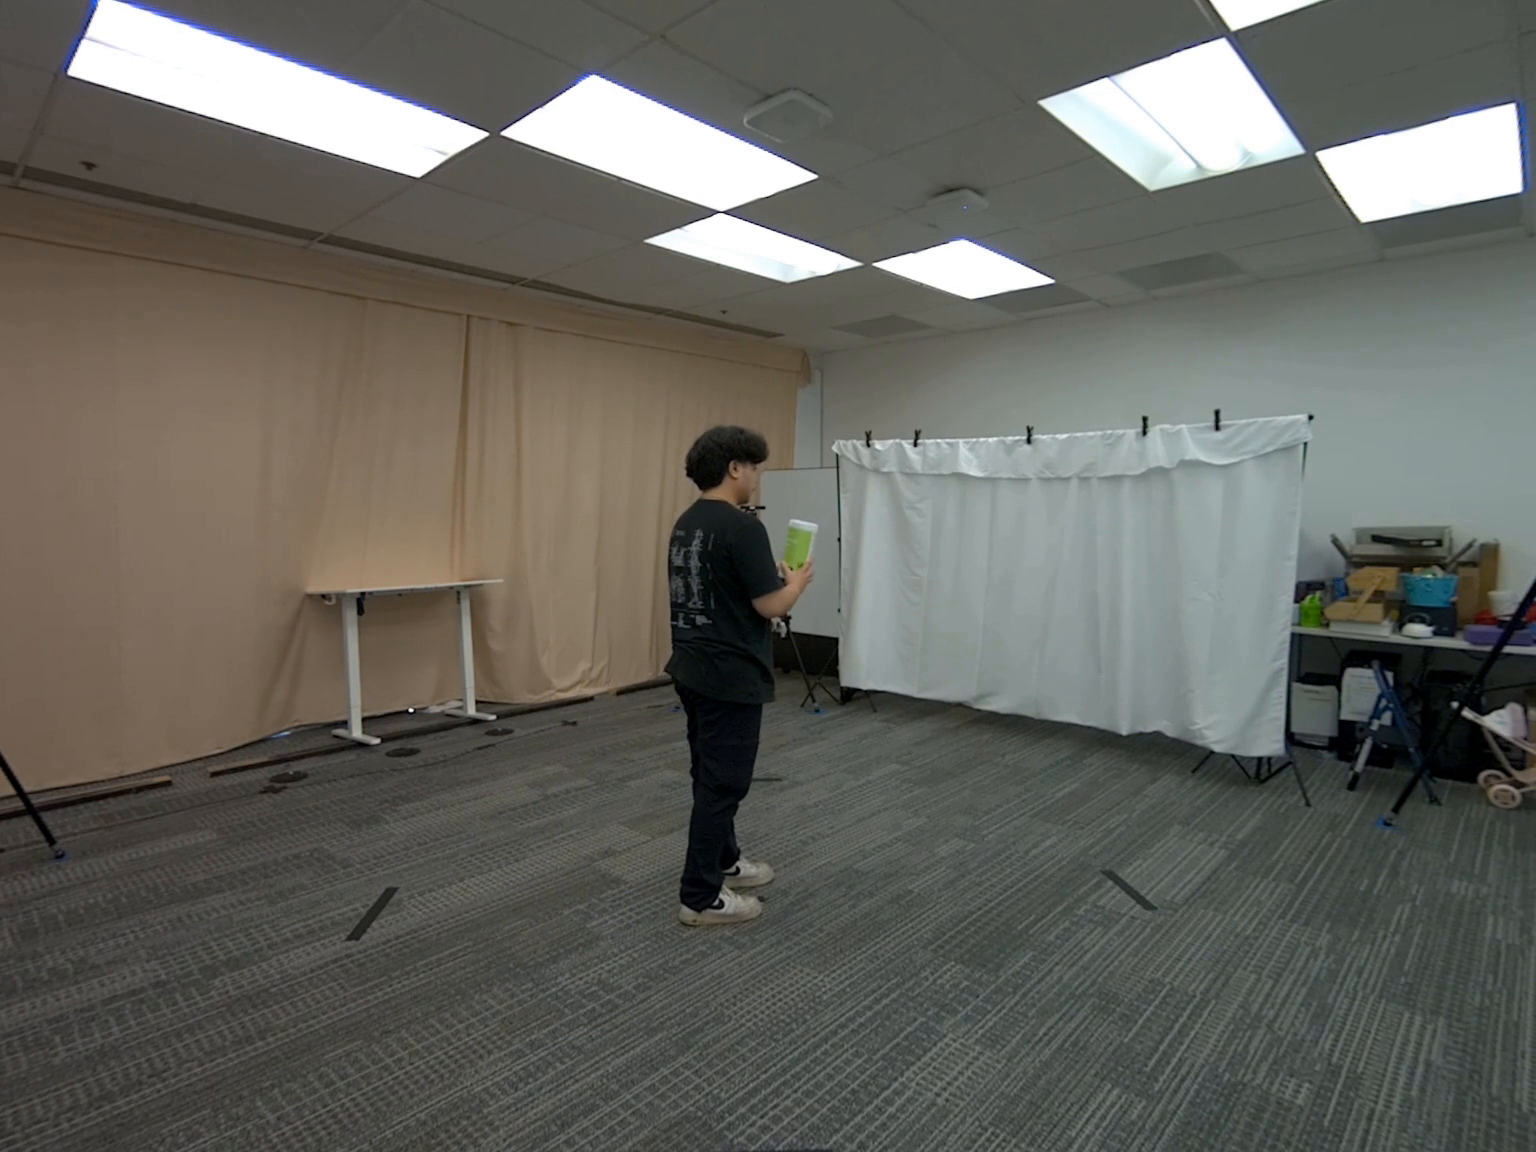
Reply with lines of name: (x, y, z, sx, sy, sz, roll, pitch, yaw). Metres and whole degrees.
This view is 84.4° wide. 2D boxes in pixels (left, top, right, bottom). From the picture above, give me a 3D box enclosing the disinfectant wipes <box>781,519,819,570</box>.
disinfectant wipes: (0.112, -0.089, 3.050, 0.117, 0.217, 0.118, 12, 4, -3)
